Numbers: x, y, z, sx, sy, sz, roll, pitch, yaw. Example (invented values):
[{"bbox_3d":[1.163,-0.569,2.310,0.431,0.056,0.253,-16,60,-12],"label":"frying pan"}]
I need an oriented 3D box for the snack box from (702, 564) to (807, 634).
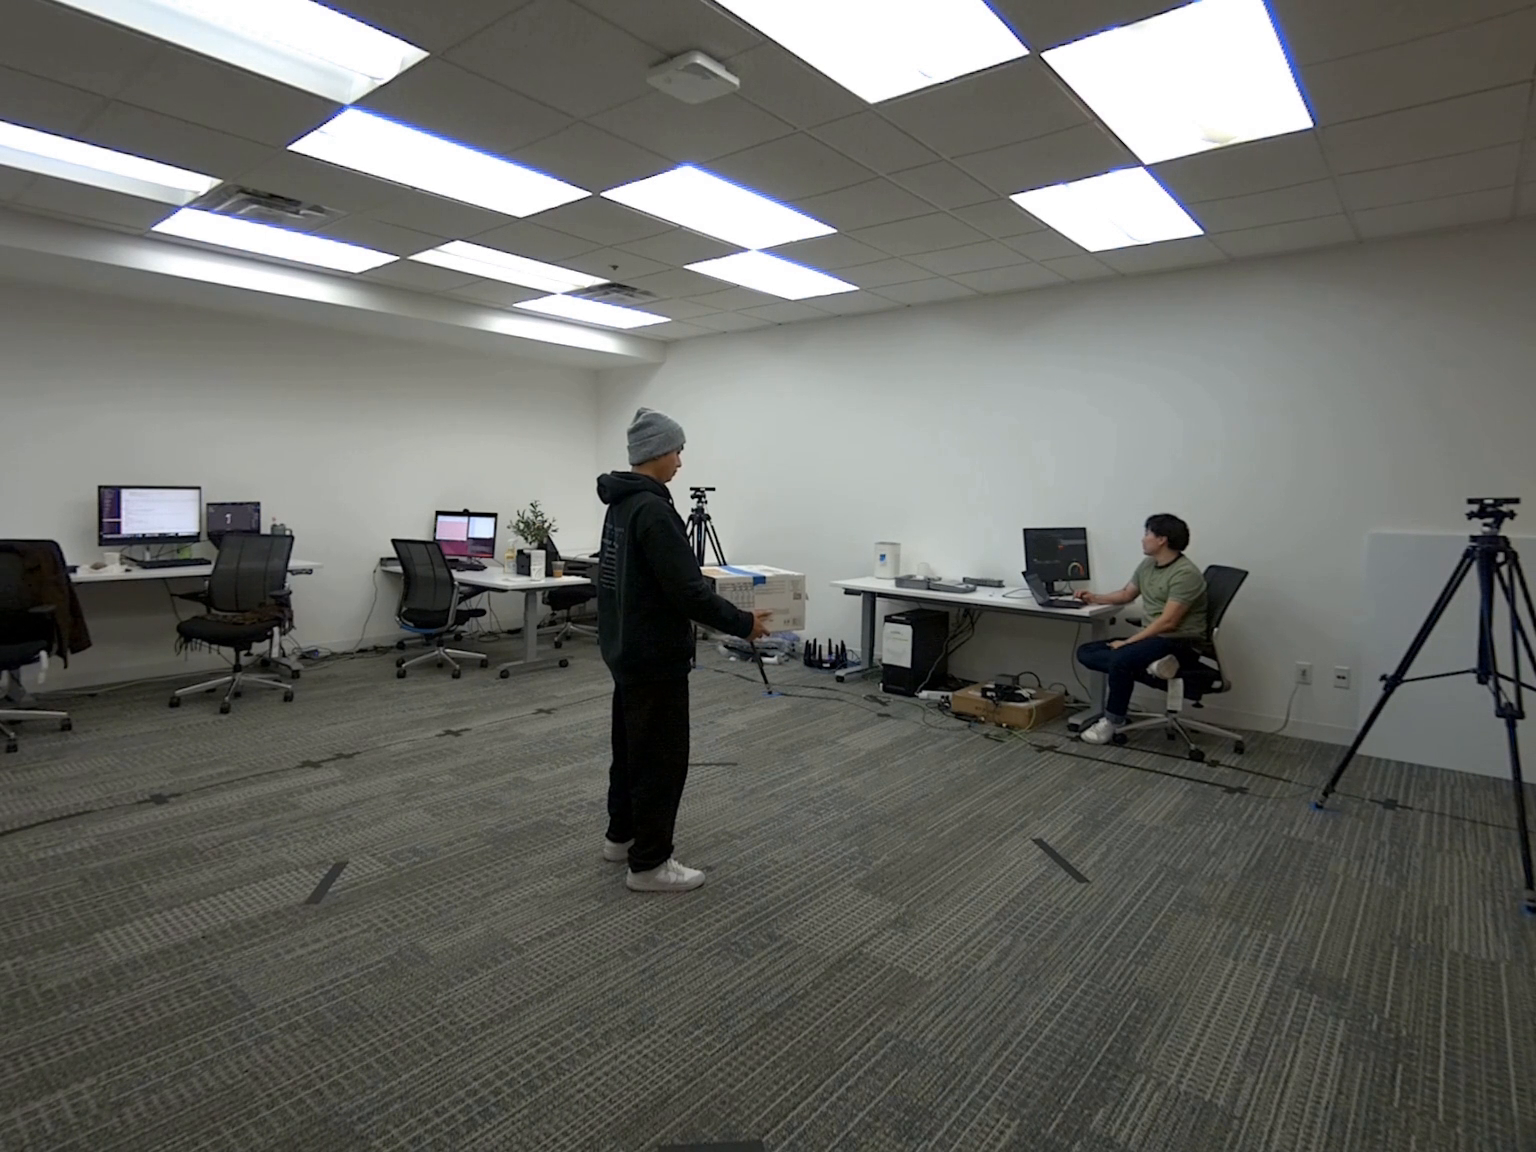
[{"bbox_3d":[-0.107,0.081,3.169,0.334,0.205,0.415,-2,6,-20],"label":"snack box"}]
